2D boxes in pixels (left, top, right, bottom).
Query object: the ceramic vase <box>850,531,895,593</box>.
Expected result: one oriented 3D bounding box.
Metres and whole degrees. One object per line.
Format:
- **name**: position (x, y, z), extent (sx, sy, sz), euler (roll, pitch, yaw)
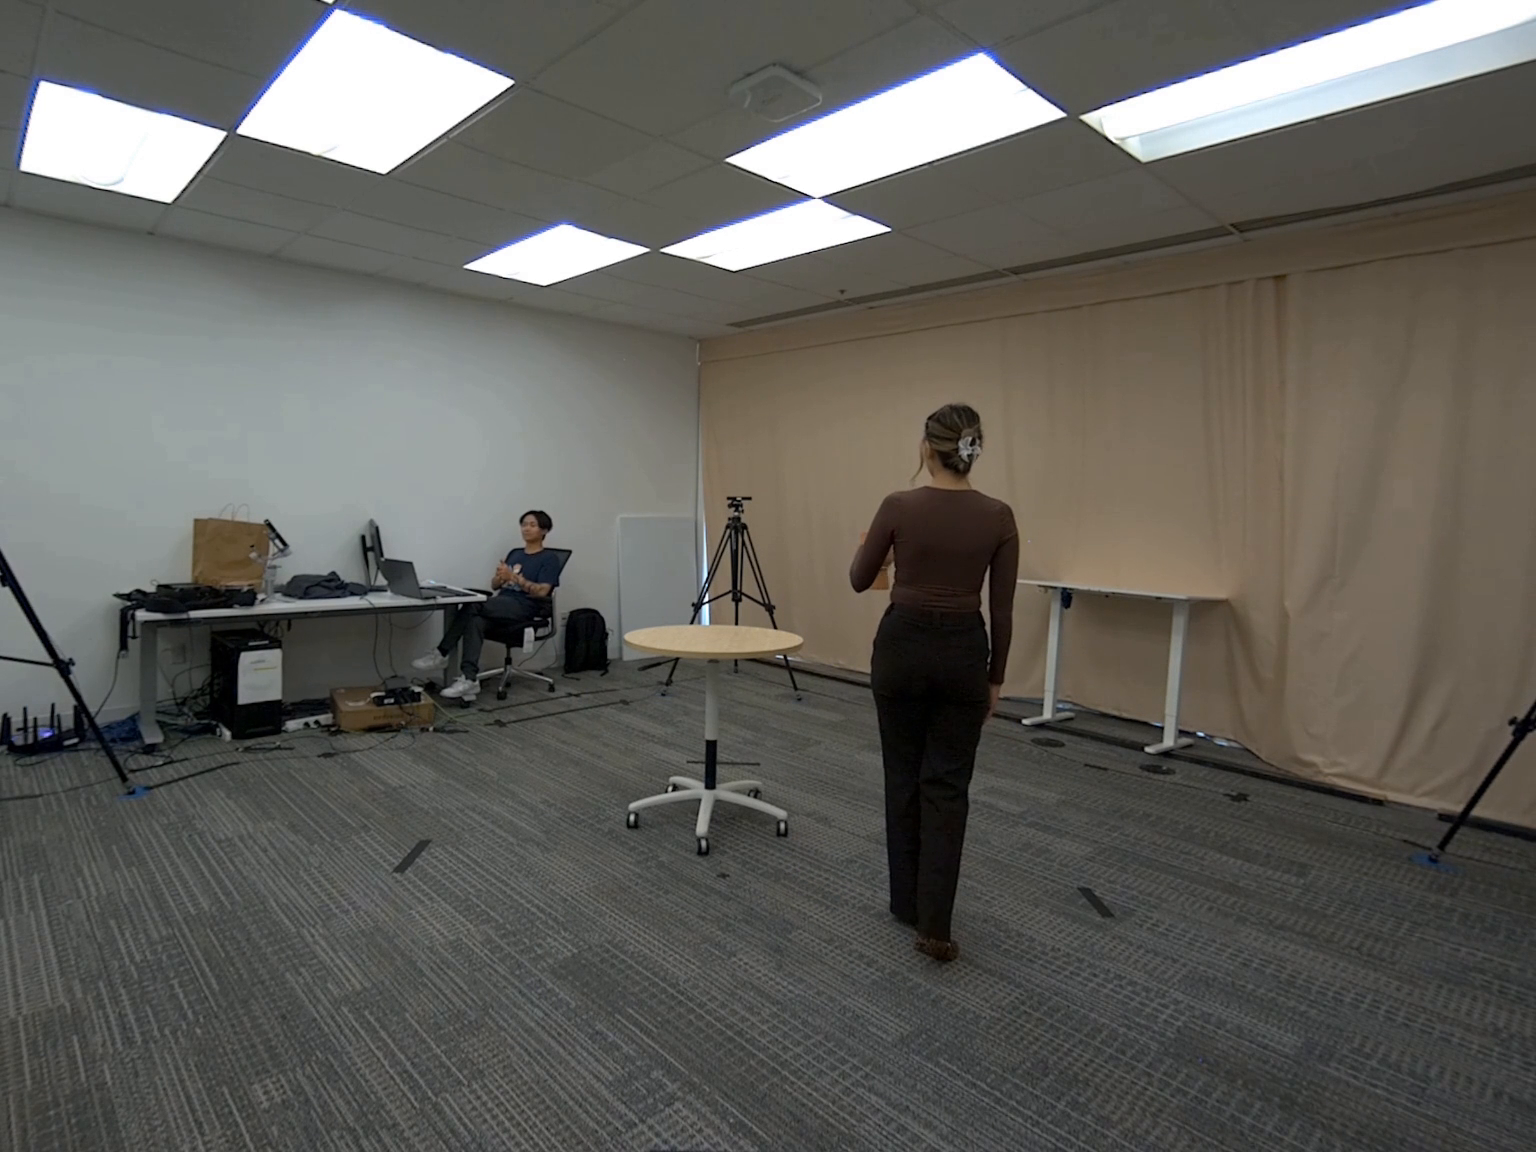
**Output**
- **ceramic vase**: position (0.416, -0.058, 3.204), extent (0.155, 0.219, 0.138), euler (-1, 3, -35)
